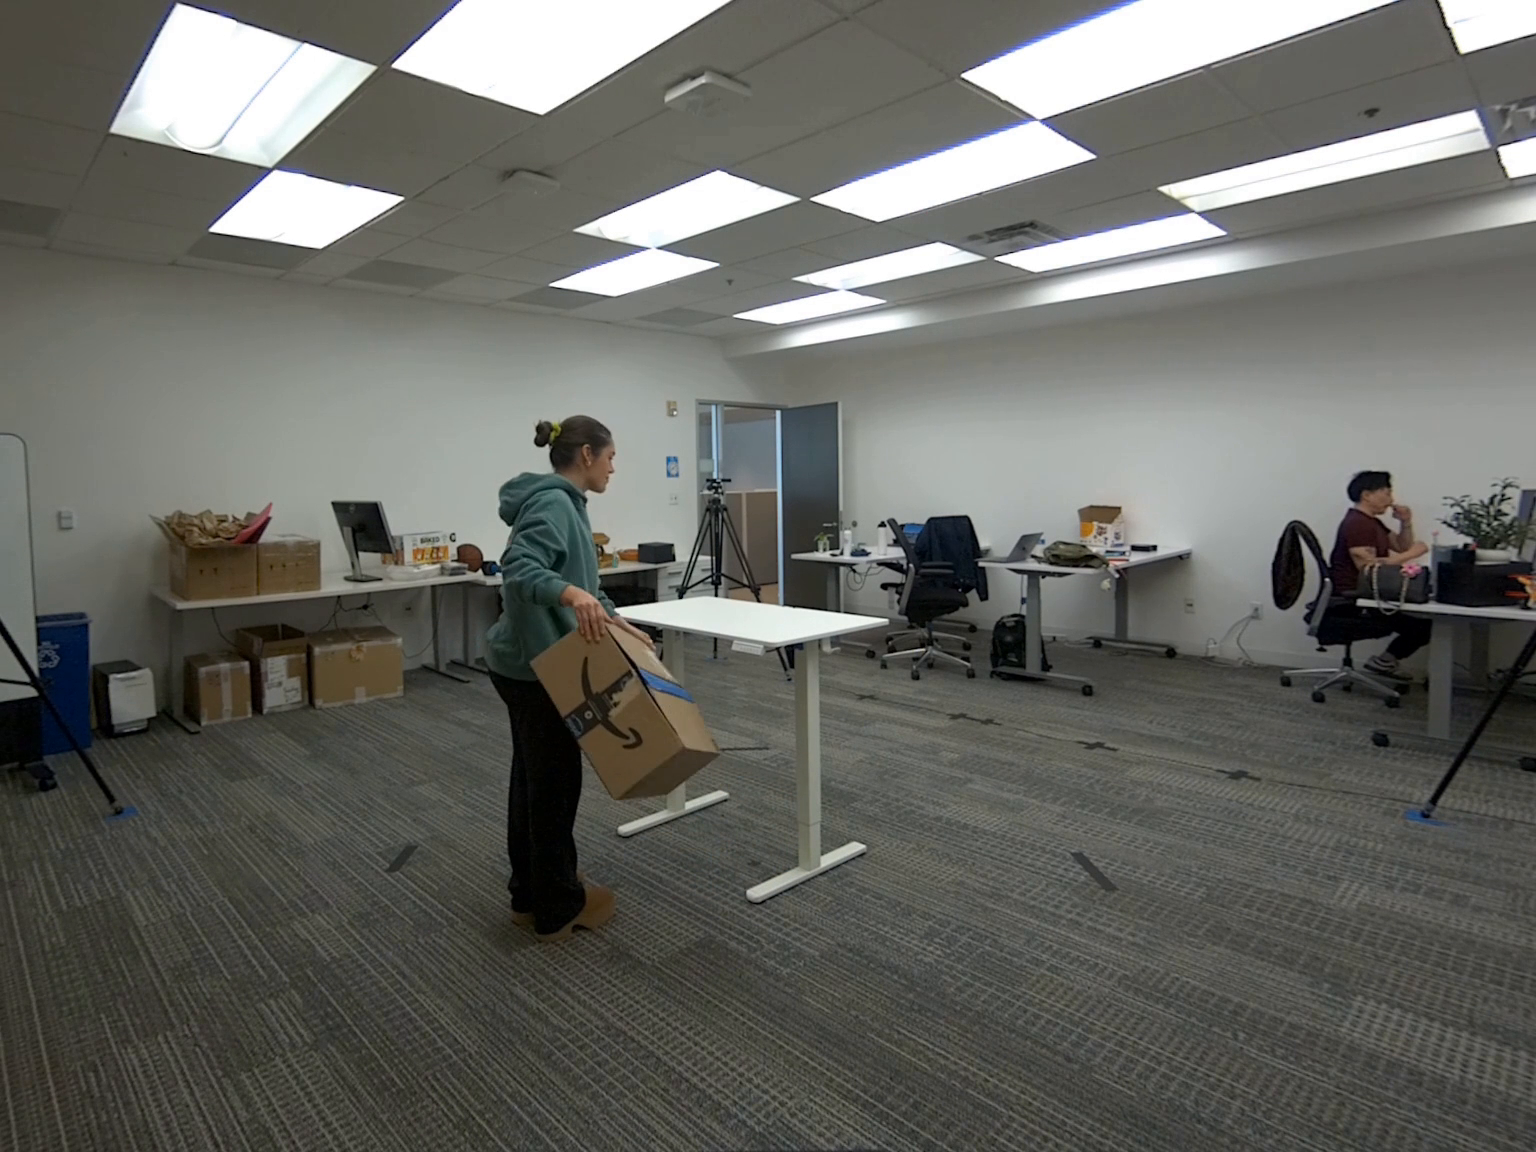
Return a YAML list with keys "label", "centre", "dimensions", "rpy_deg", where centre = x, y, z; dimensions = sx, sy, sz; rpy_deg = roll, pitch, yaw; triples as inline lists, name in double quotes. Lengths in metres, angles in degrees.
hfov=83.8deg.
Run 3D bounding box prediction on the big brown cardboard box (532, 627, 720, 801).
- label: "big brown cardboard box"
  centre: [-0.370, 0.382, 2.391]
  dimensions: [0.233, 0.426, 0.577]
  rpy_deg: [-37, -15, -2]
